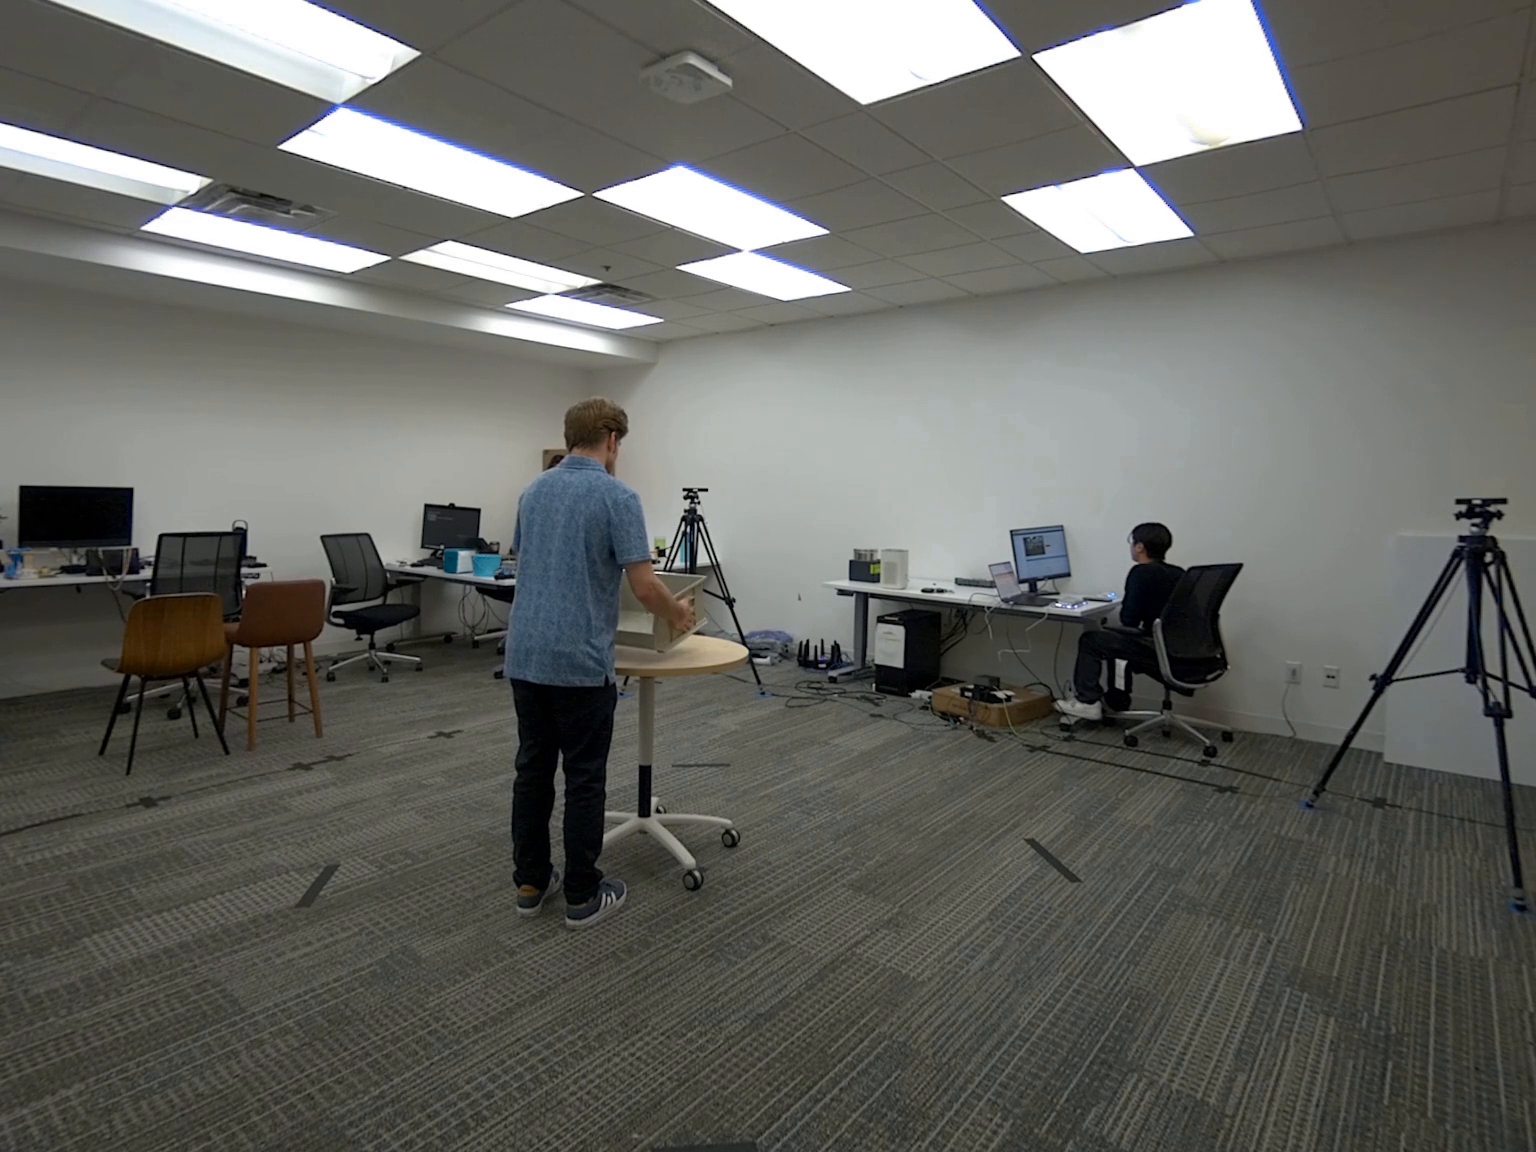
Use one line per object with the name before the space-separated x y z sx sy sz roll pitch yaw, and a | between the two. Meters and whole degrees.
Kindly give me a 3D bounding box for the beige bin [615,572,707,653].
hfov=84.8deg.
beige bin | -0.498 0.125 3.126 0.434 0.186 0.372 3 17 27
